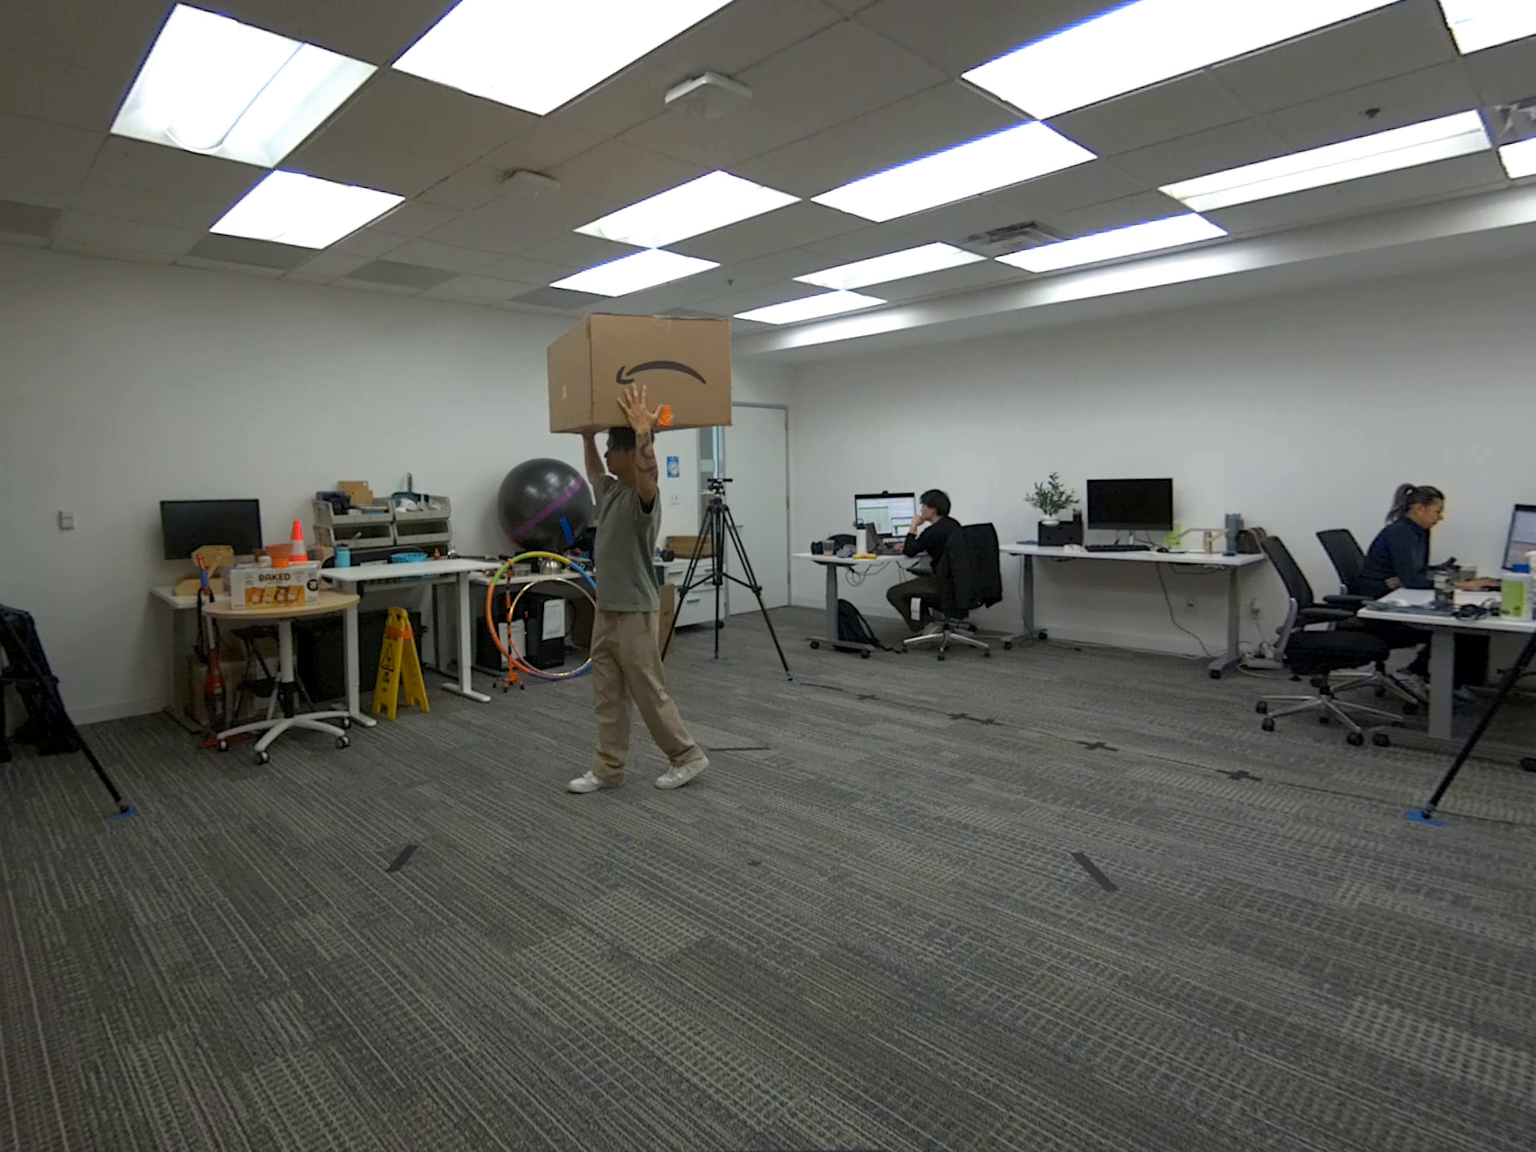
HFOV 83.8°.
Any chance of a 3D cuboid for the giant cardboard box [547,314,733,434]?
[{"bbox_3d":[-0.615,-0.857,3.818,0.567,0.423,1.052,-4,8,-23],"label":"giant cardboard box"}]
